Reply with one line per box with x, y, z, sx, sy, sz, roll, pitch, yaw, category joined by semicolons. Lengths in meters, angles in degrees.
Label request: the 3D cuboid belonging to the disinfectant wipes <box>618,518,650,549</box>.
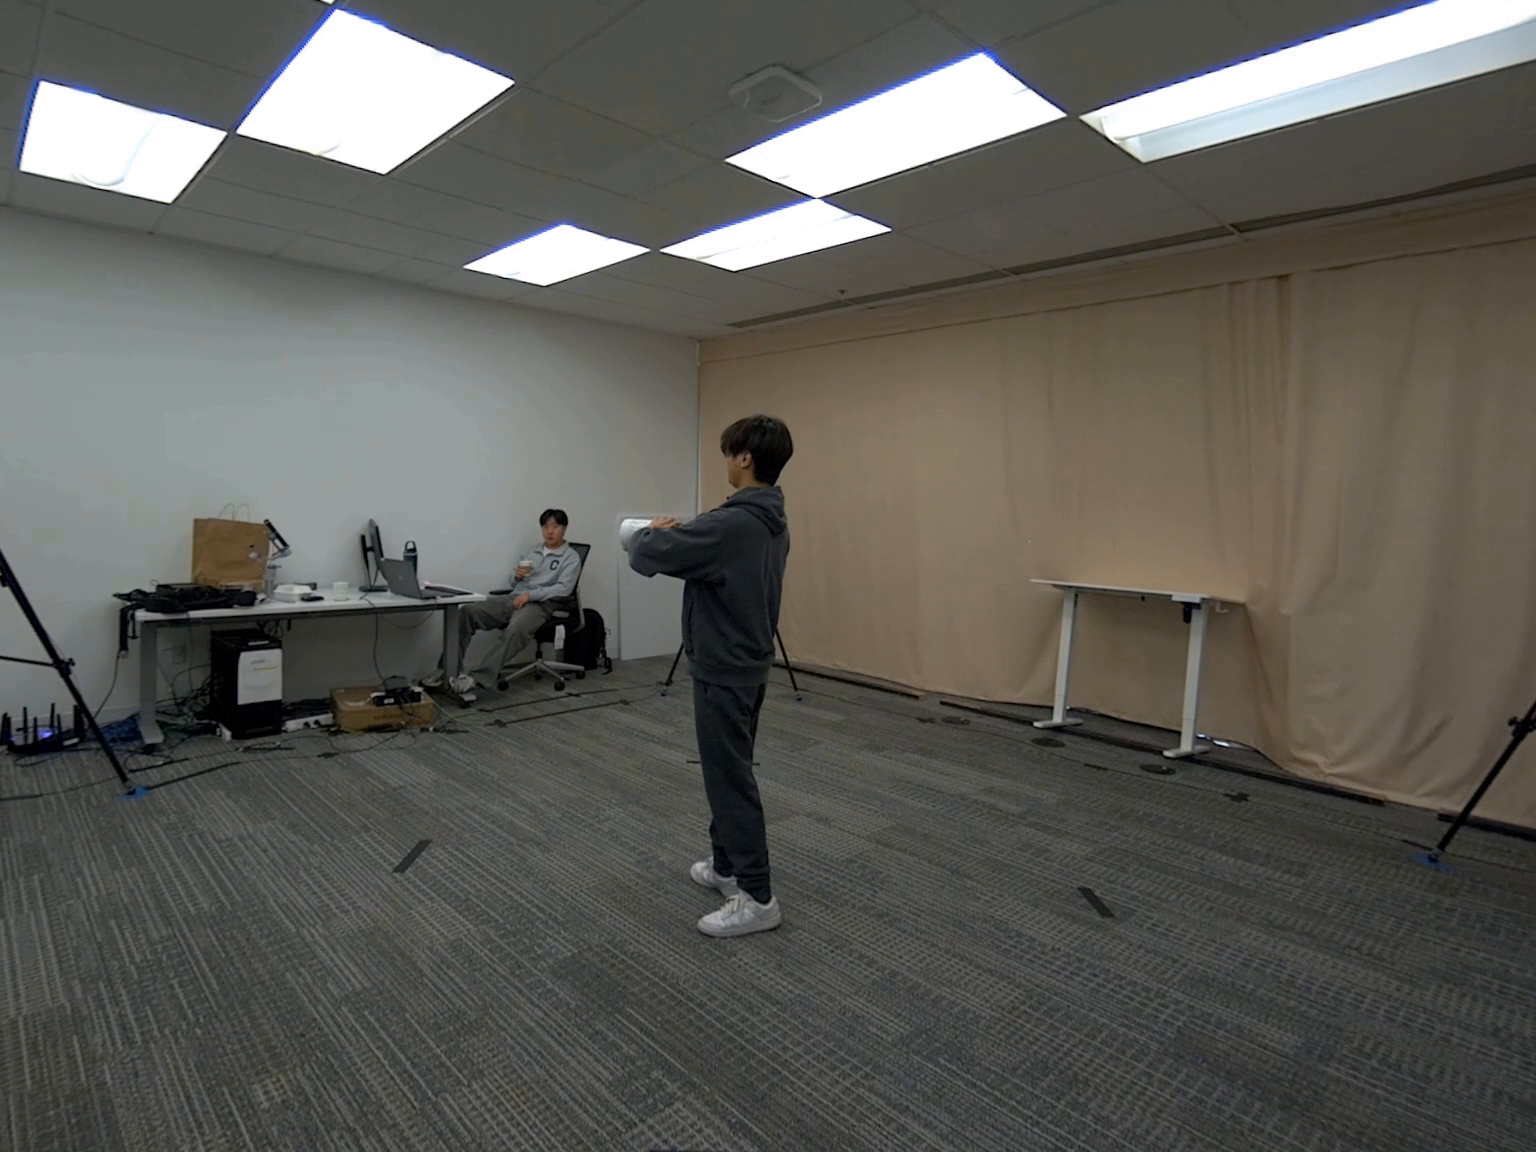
-0.403;-0.136;2.999;0.221;0.117;0.116;6;5;17;disinfectant wipes
